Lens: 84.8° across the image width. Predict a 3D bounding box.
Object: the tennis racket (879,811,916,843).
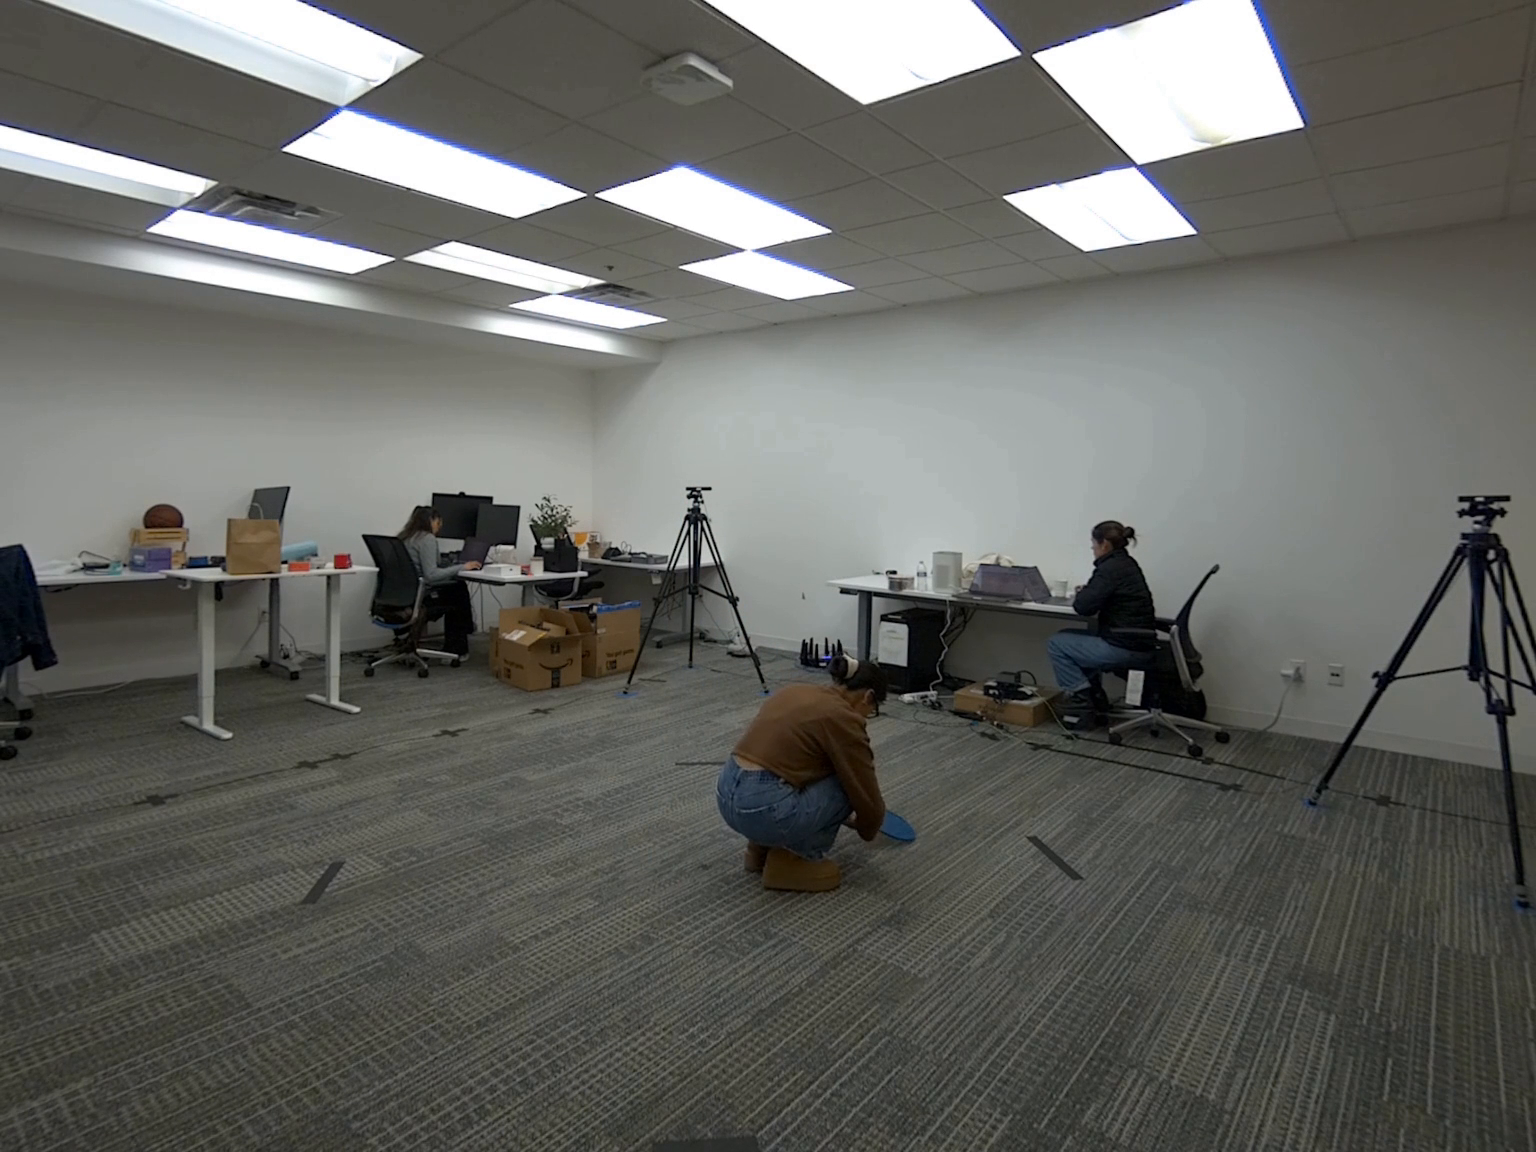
[{"bbox_3d":[0.428,0.979,3.384,0.417,0.031,0.223,15,14,-39],"label":"tennis racket"}]
